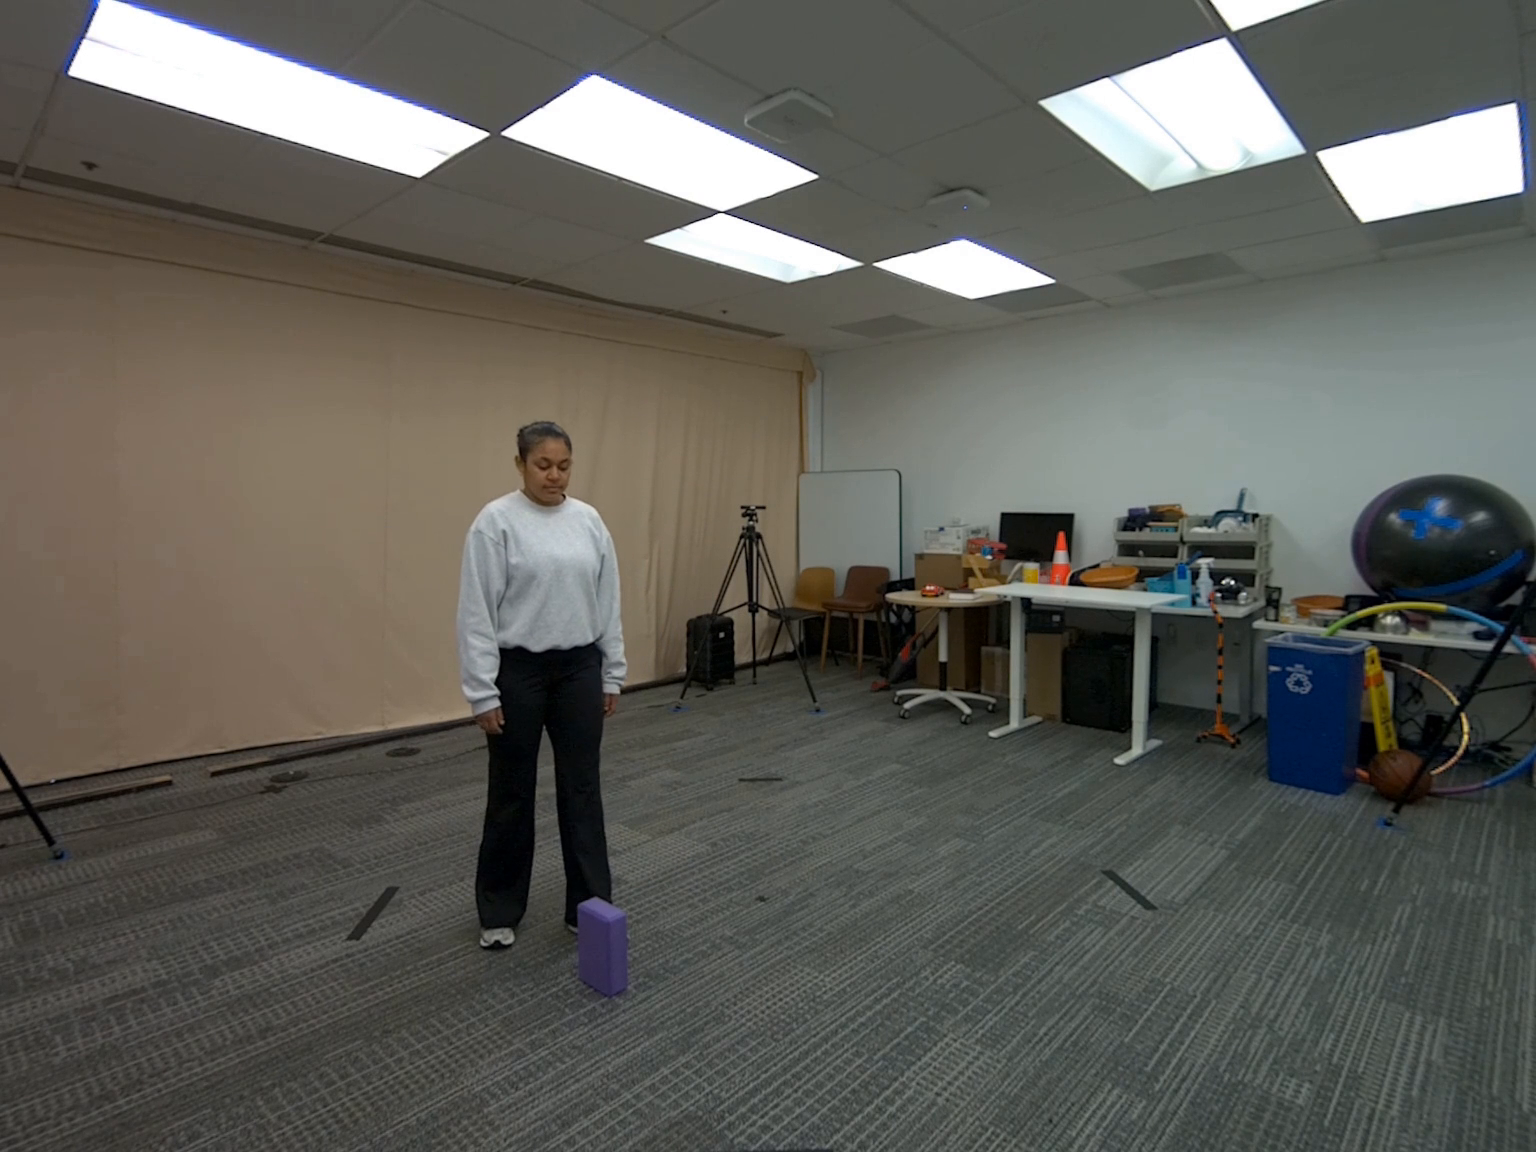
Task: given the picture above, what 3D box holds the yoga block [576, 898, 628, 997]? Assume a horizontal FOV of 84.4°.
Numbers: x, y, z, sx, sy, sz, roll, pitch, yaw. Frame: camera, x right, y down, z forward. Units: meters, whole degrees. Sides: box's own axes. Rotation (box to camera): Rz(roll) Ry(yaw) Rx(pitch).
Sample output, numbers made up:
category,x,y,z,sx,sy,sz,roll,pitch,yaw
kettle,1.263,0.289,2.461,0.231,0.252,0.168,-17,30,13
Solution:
category,x,y,z,sx,sy,sz,roll,pitch,yaw
yoga block,-0.478,1.072,2.446,0.154,0.229,0.074,4,4,43
